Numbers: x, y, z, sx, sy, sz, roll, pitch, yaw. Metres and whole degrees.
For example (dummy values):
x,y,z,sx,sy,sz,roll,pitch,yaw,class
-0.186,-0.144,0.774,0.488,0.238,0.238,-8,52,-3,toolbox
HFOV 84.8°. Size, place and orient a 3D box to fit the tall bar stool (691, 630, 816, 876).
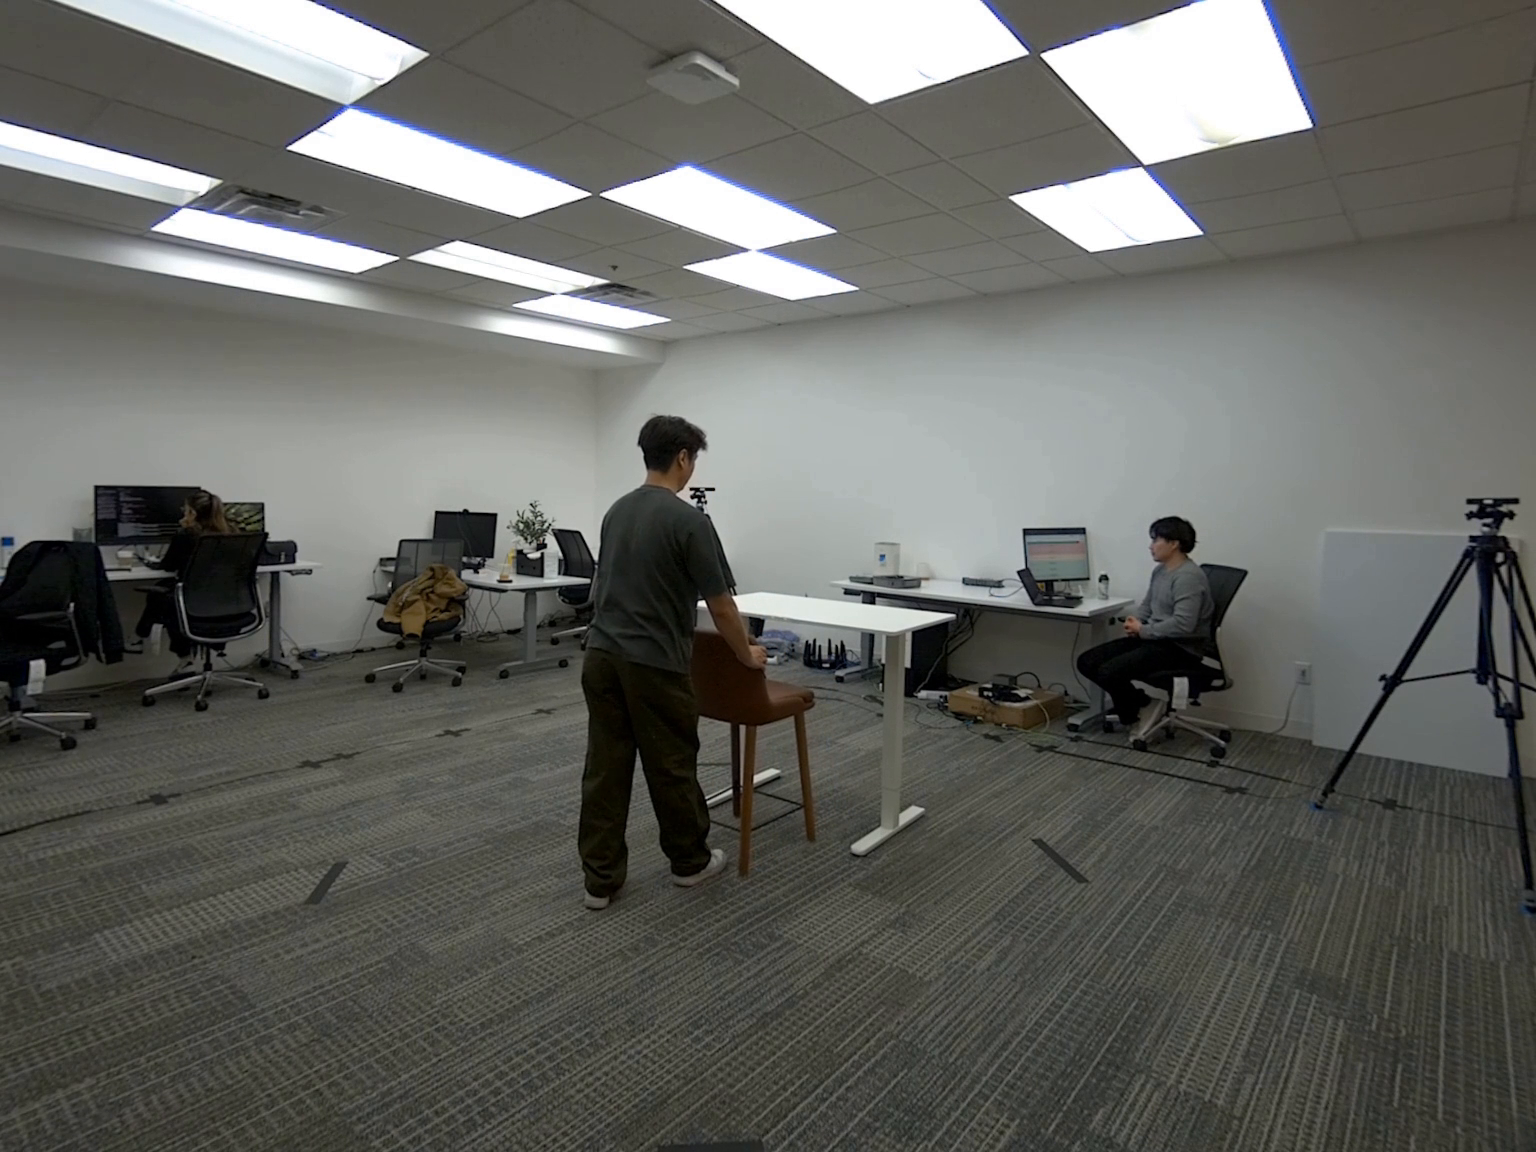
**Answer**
x,y,z,sx,sy,sz,roll,pitch,yaw,class
-0.110,0.605,3.308,0.472,0.885,0.455,4,7,39,tall bar stool
